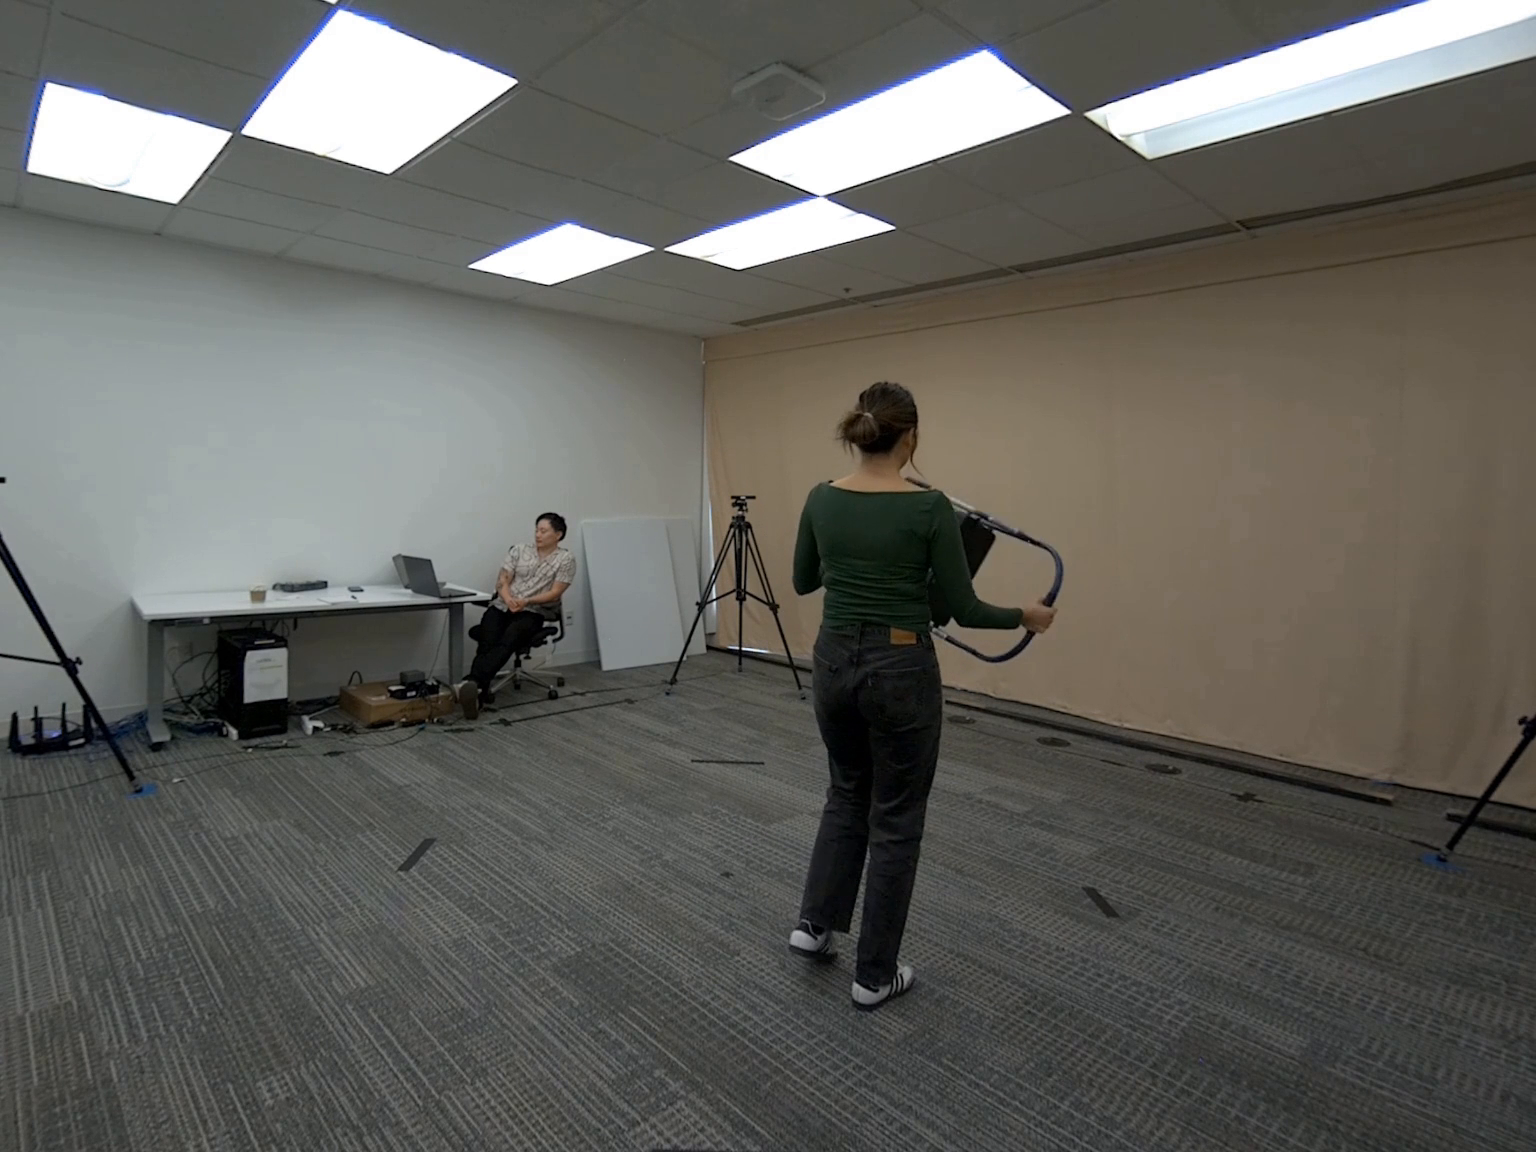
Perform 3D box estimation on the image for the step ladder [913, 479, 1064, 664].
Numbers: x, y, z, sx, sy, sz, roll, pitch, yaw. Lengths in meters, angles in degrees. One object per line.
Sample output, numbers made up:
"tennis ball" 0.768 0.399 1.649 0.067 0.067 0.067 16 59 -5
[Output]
"step ladder" 0.638 0.022 2.704 0.625 0.430 0.339 31 5 43
